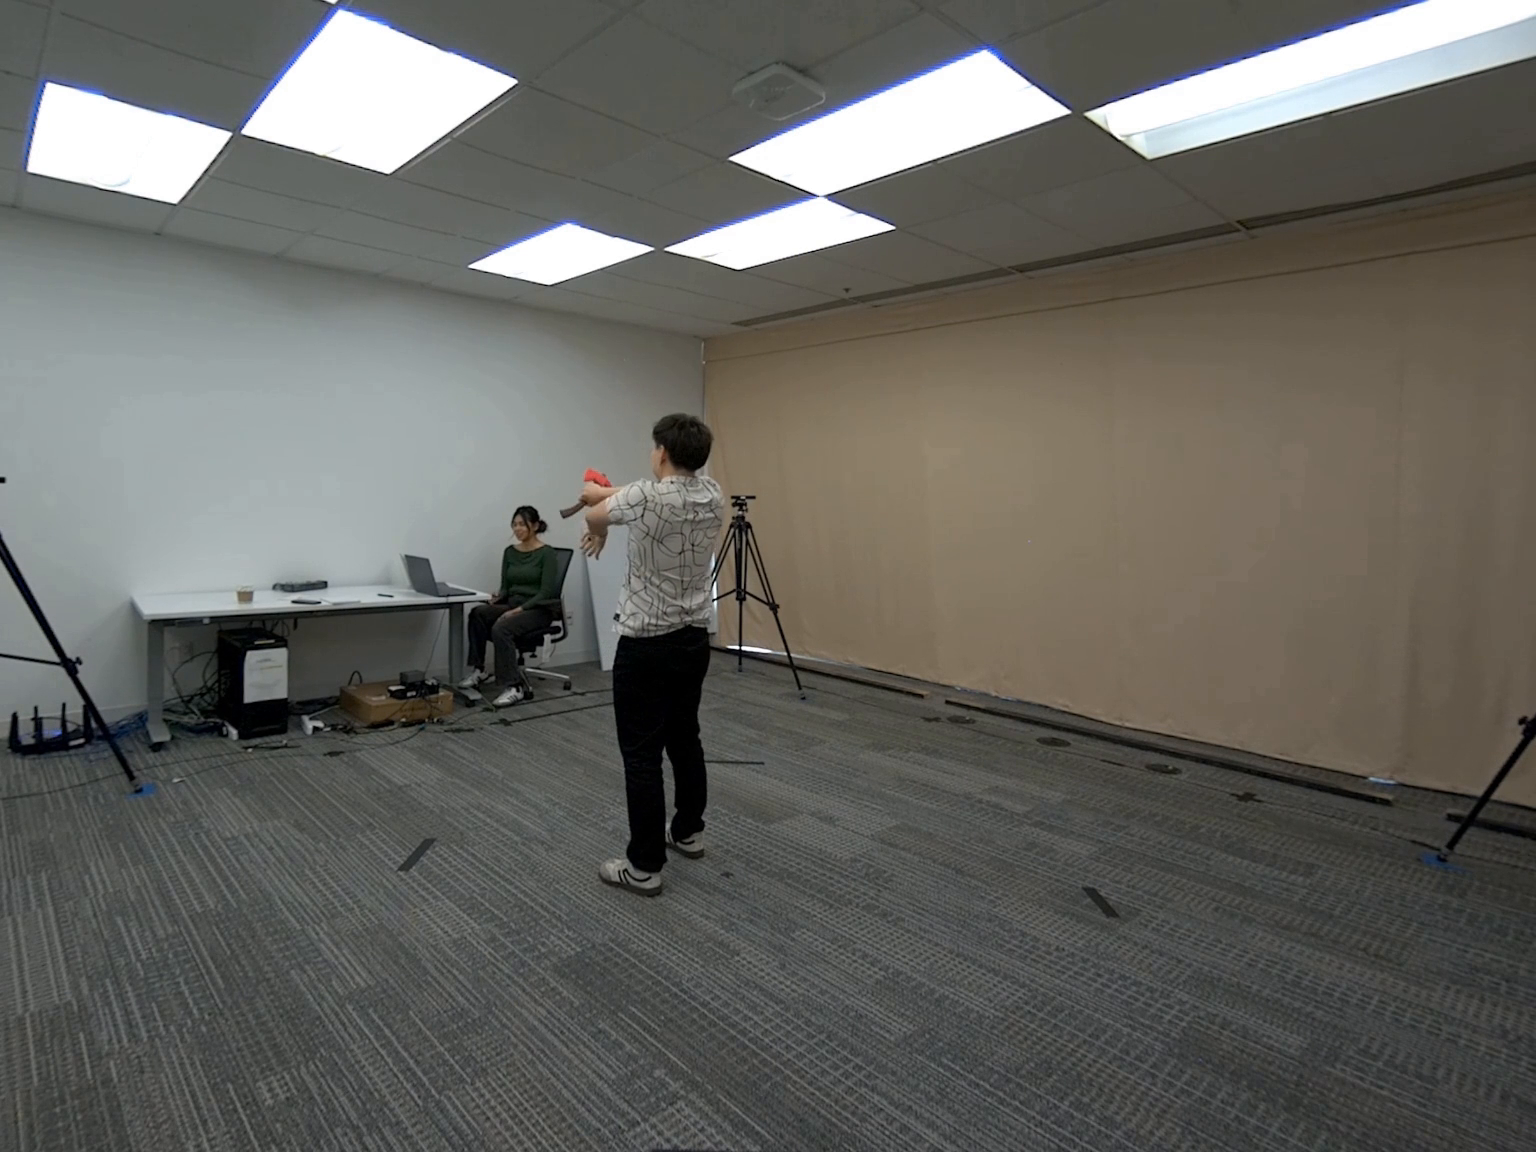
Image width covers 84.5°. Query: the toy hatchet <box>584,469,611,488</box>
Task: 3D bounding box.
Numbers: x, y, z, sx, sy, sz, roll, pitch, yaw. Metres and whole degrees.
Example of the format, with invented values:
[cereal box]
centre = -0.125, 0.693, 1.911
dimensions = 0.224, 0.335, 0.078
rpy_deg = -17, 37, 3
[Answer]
[toy hatchet]
centre = -0.756, -0.337, 3.378
dimensions = 0.269, 0.130, 0.030
rpy_deg = -39, 7, -37
